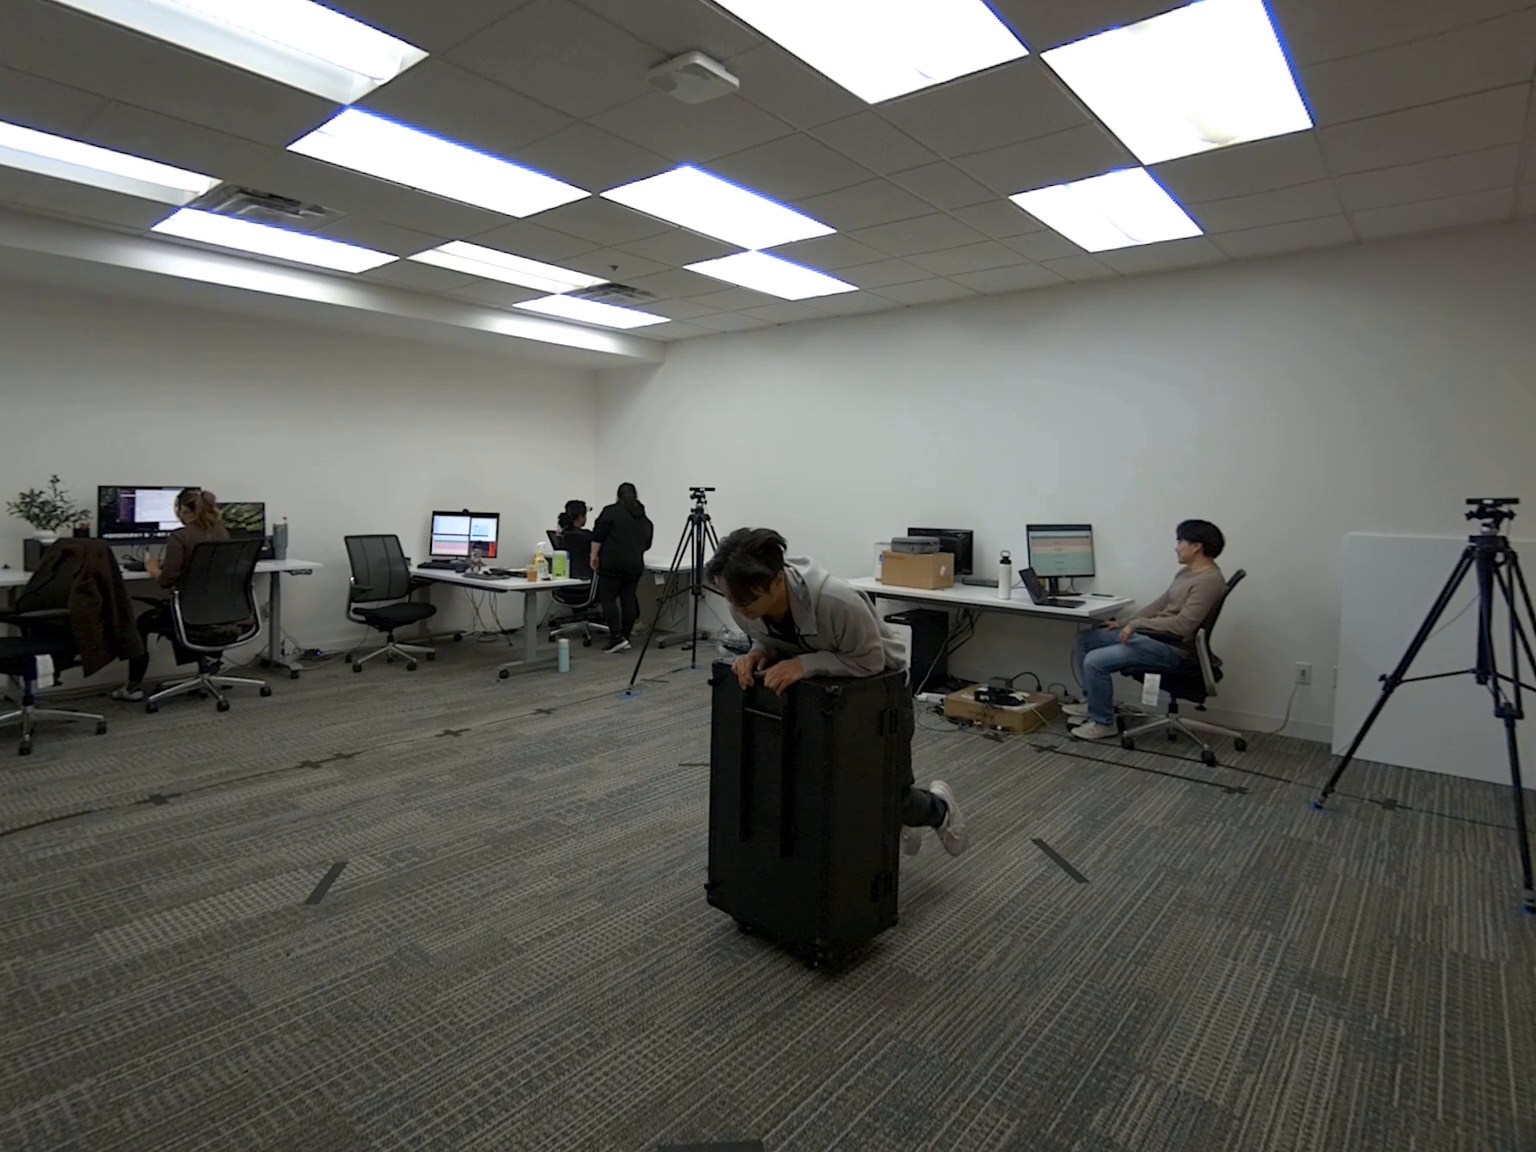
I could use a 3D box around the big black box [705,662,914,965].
[{"bbox_3d":[0.104,0.704,2.620,0.539,0.858,0.384,4,5,44],"label":"big black box"}]
